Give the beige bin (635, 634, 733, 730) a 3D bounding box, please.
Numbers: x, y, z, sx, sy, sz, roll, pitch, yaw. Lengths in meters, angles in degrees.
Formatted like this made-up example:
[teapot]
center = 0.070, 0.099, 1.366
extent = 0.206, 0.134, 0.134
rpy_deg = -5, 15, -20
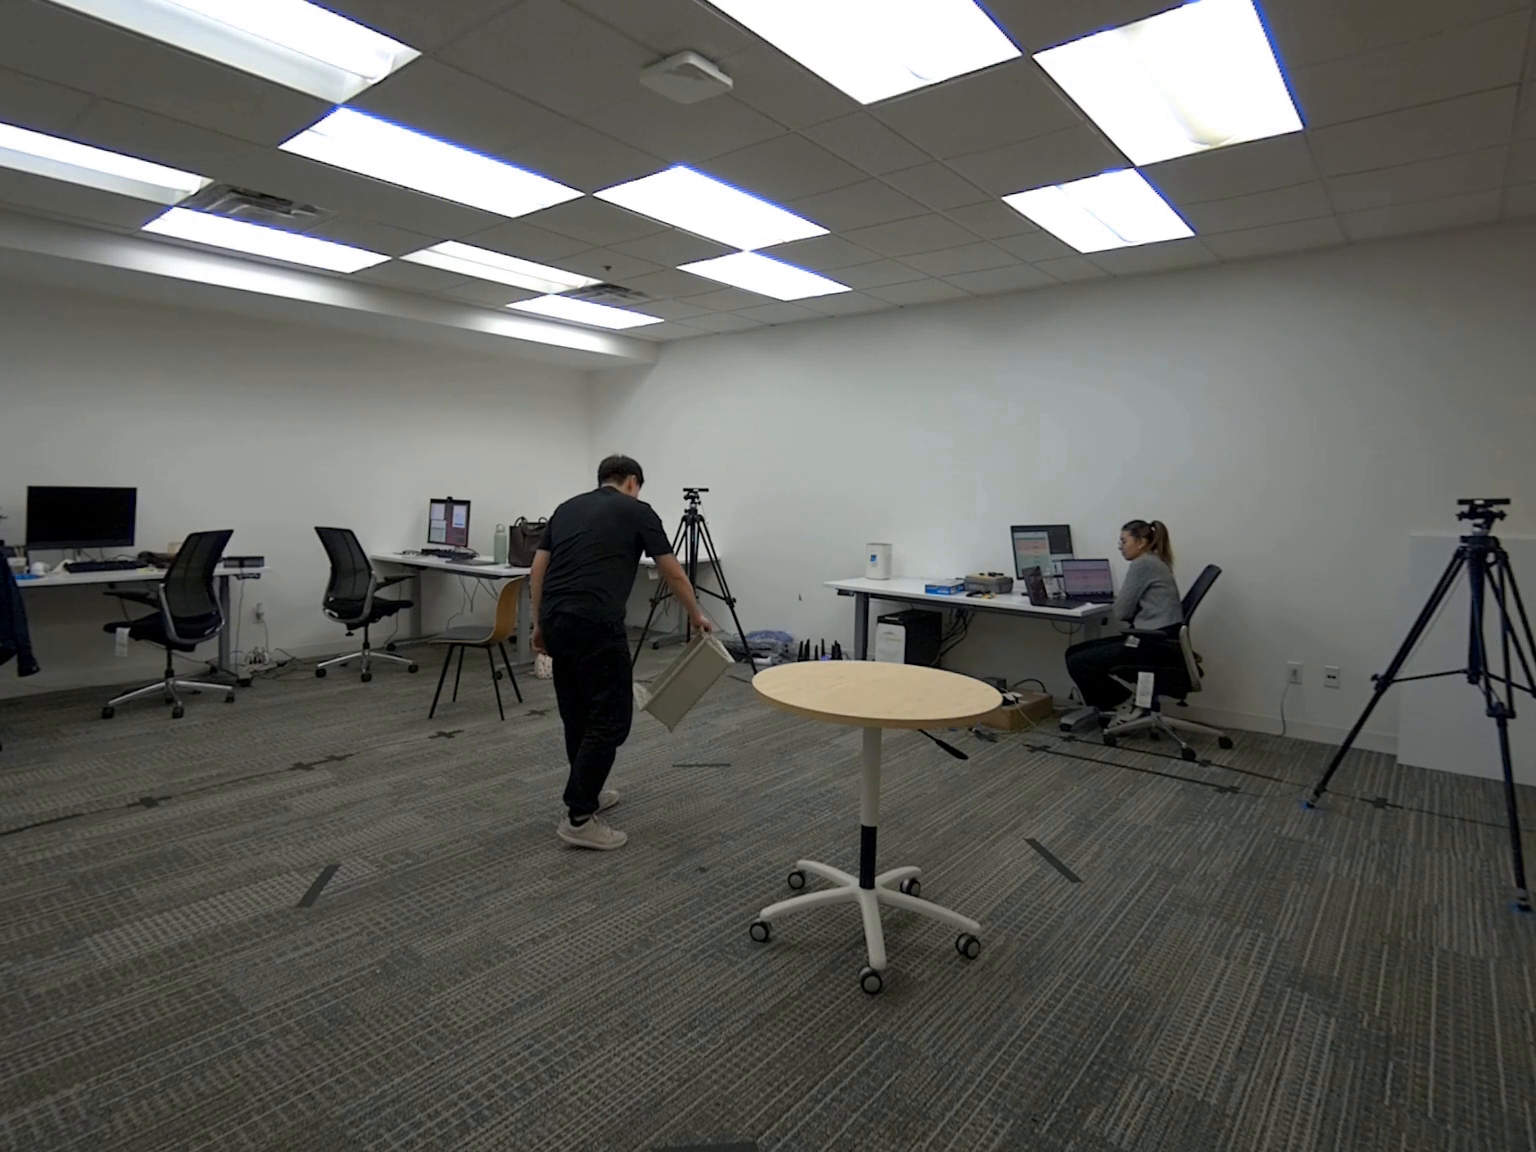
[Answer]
[beige bin]
center = -0.394, 0.428, 3.796
extent = 0.184, 0.422, 0.387
rpy_deg = 43, -1, -20
